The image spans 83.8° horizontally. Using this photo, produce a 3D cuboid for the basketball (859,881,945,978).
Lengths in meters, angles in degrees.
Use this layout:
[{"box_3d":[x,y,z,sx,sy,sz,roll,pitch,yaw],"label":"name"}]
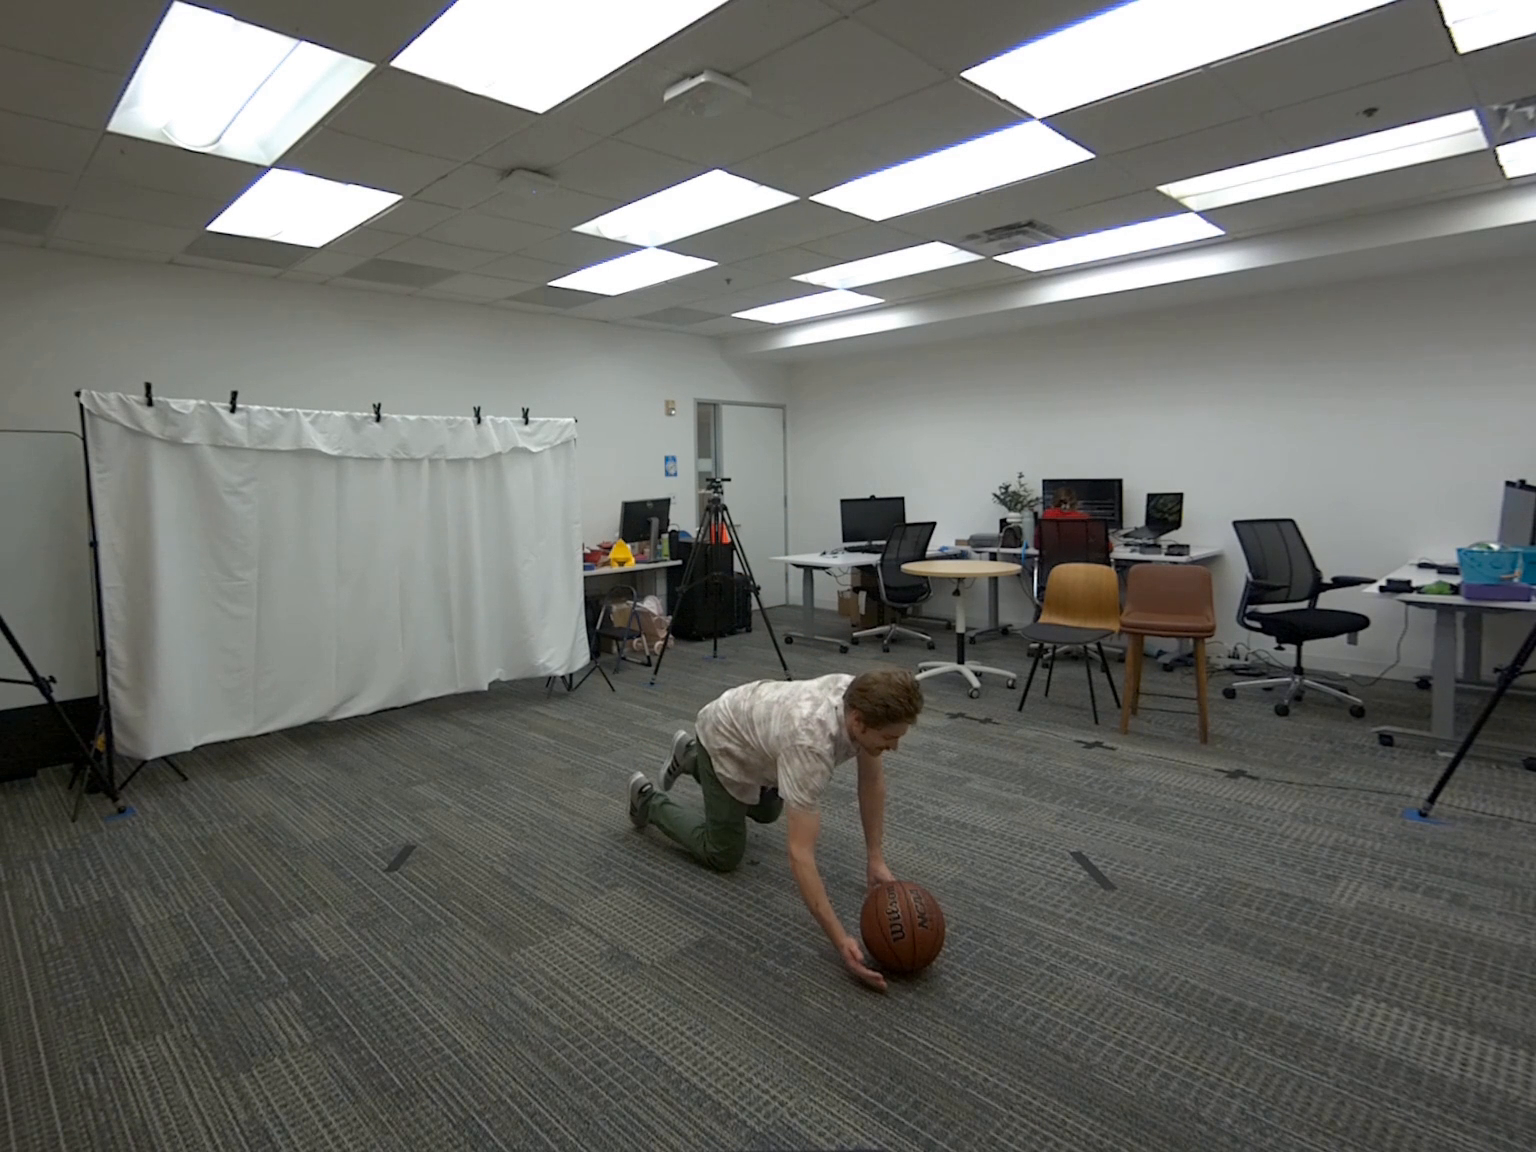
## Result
[{"box_3d":[0.391,0.991,2.421,0.236,0.235,0.237,-1,5,-2],"label":"basketball"}]
